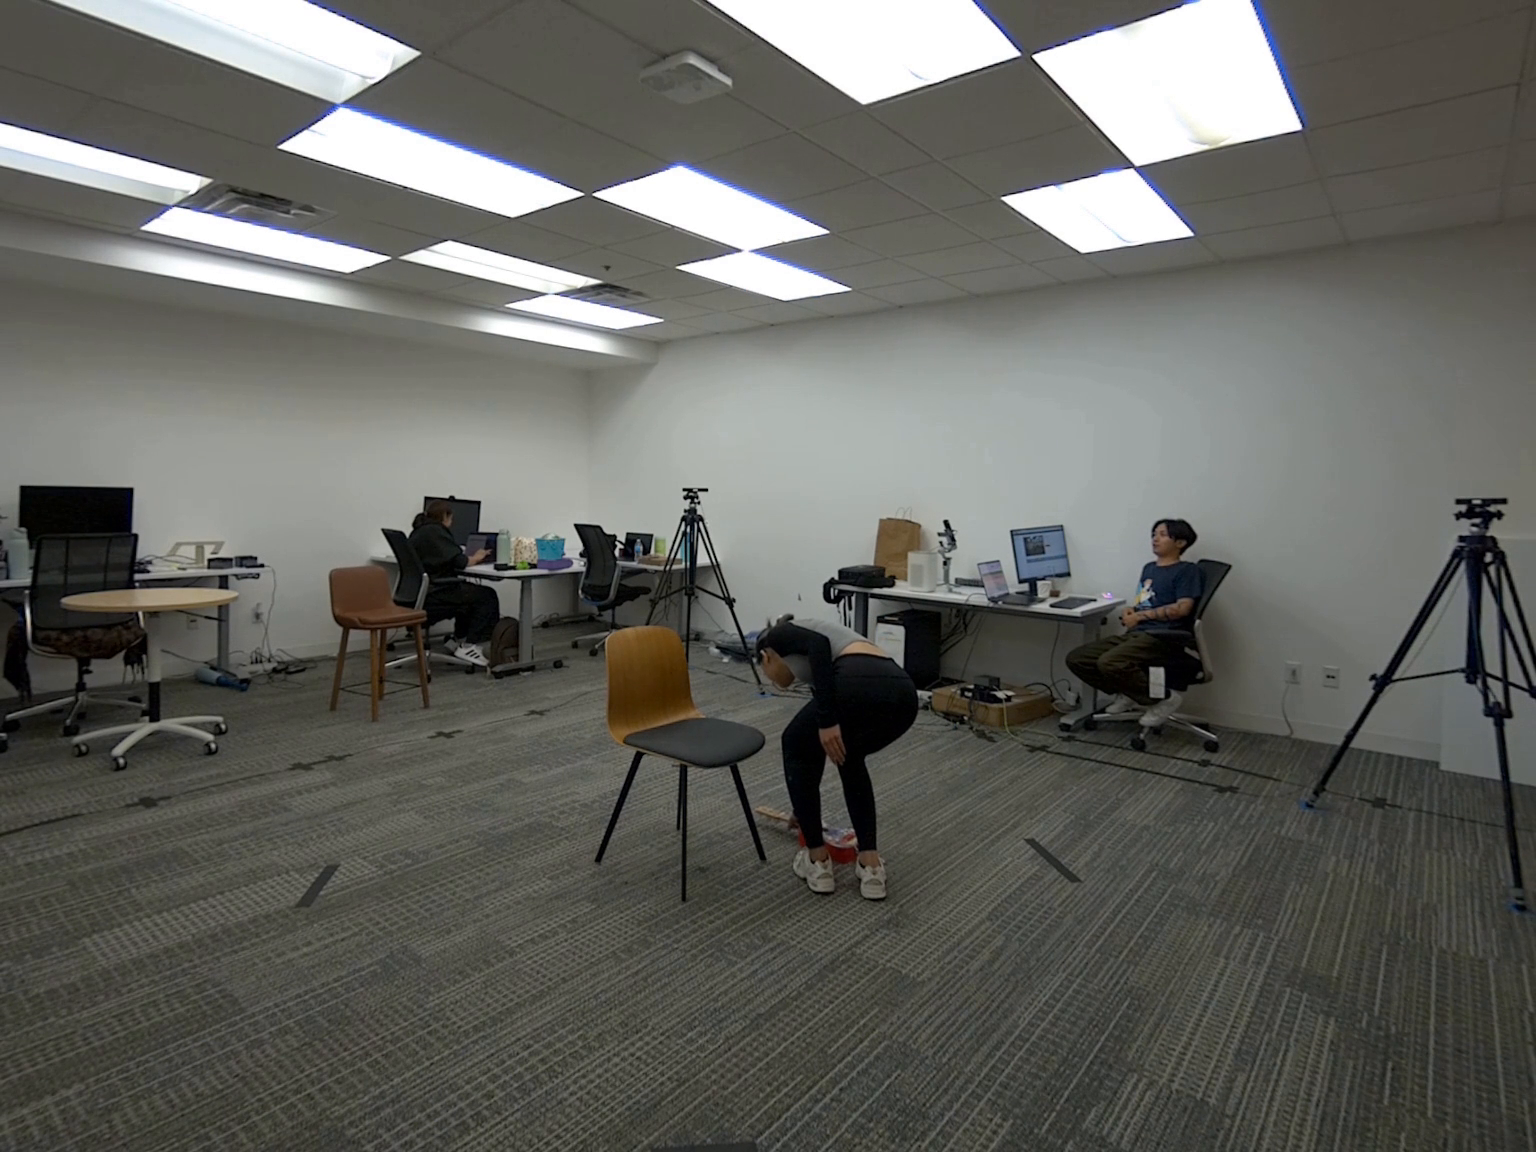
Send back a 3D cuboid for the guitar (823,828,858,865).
[{"bbox_3d":[0.169,1.011,3.411,0.187,0.070,0.515,-3,7,-43],"label":"guitar"}]
